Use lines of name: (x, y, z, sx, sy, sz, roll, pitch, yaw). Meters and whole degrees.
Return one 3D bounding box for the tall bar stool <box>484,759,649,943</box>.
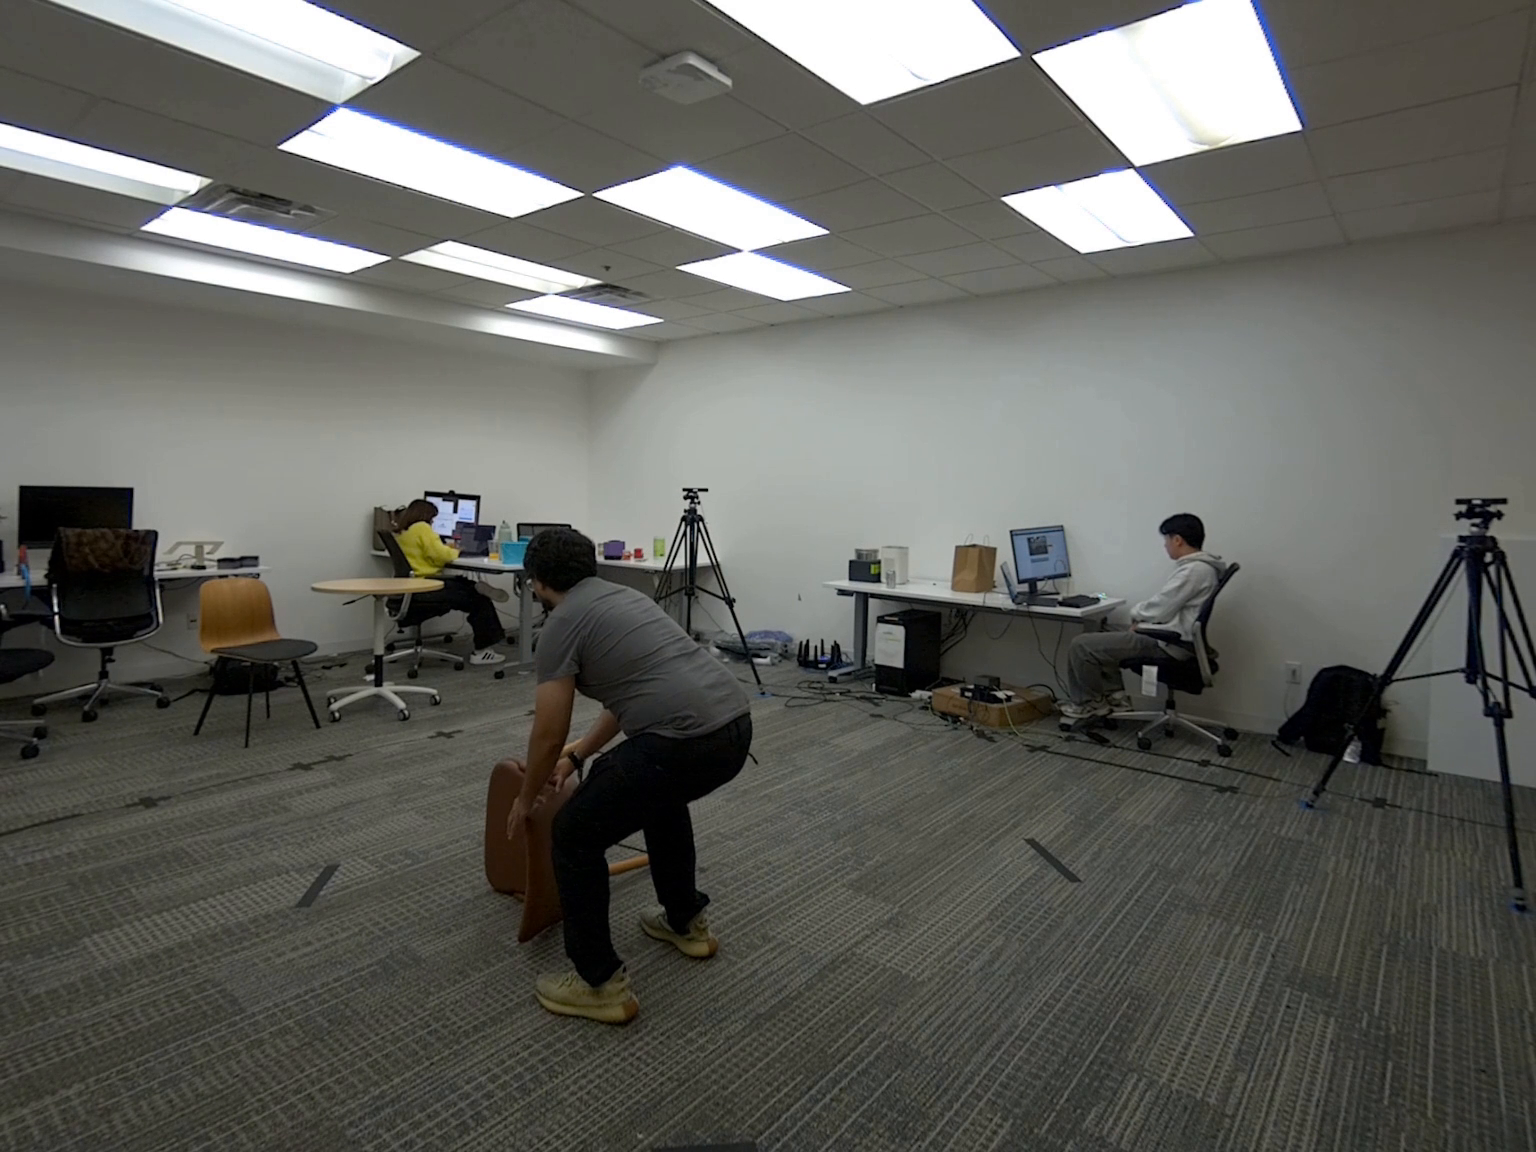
tall bar stool: (-0.712, 0.861, 2.966, 0.481, 0.455, 0.867, 5, 4, 27)
